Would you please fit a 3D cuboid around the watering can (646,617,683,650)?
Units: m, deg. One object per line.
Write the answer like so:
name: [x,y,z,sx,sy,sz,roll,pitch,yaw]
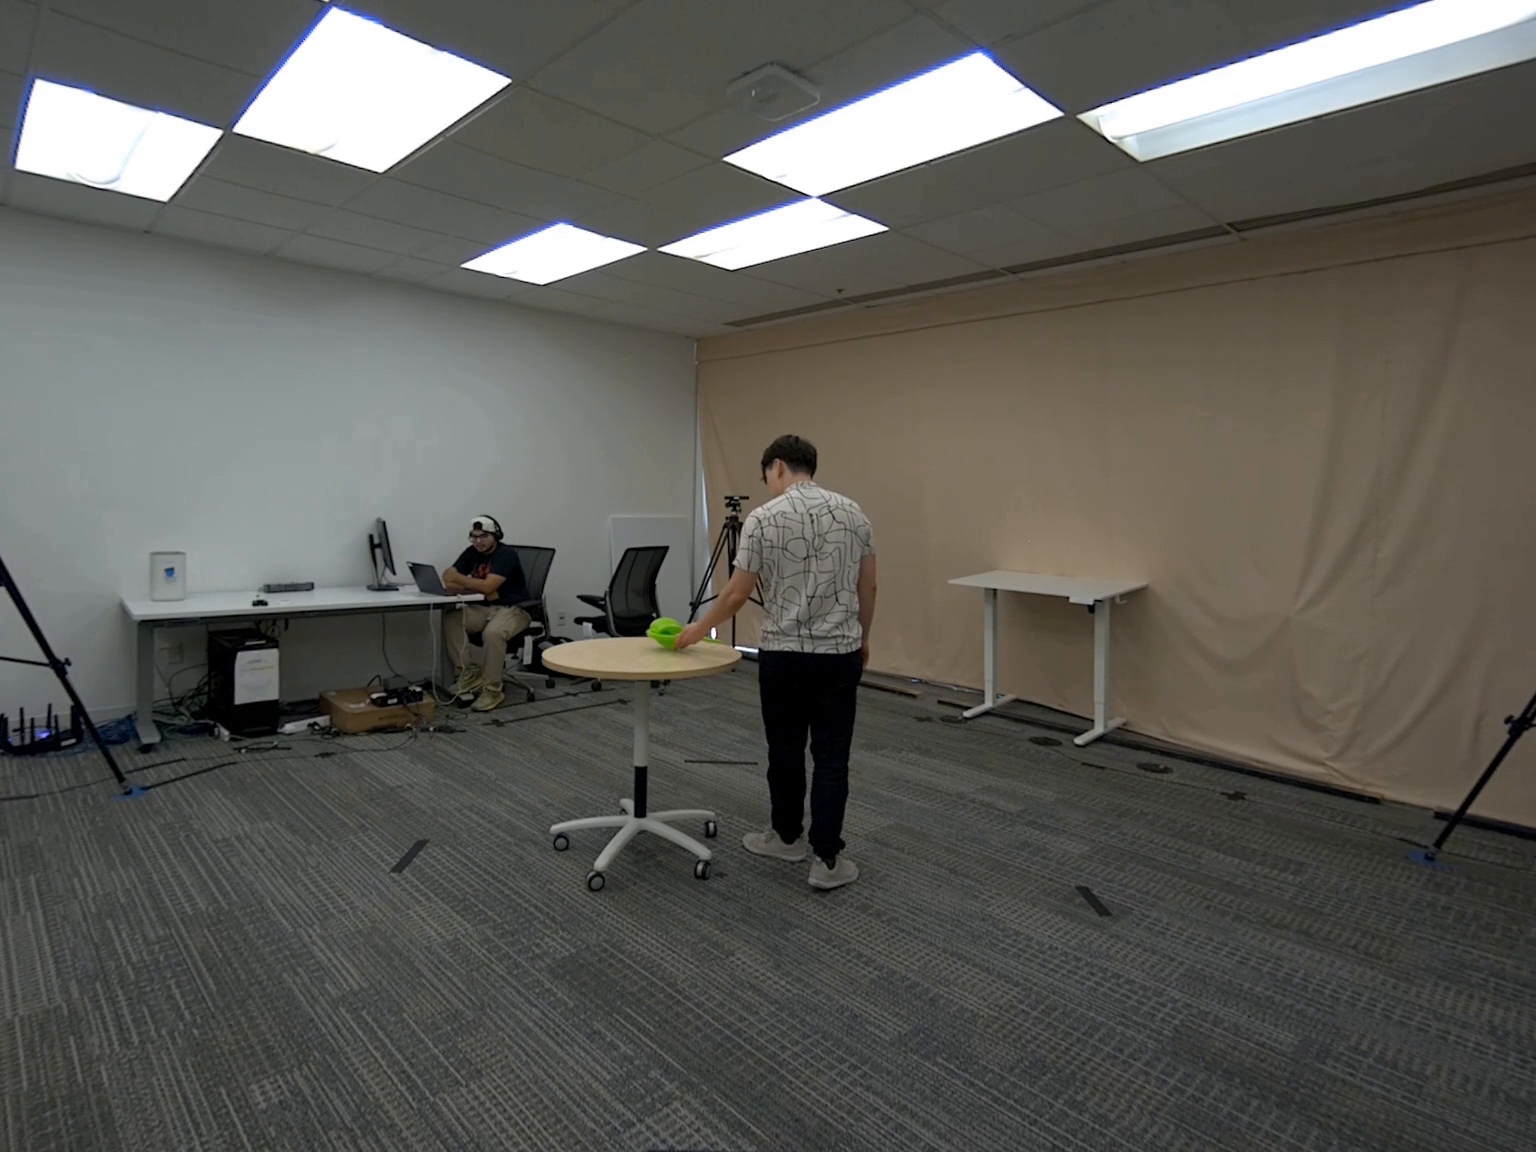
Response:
watering can: [-0.352,0.242,3.335,0.273,0.098,0.180,19,3,-19]
